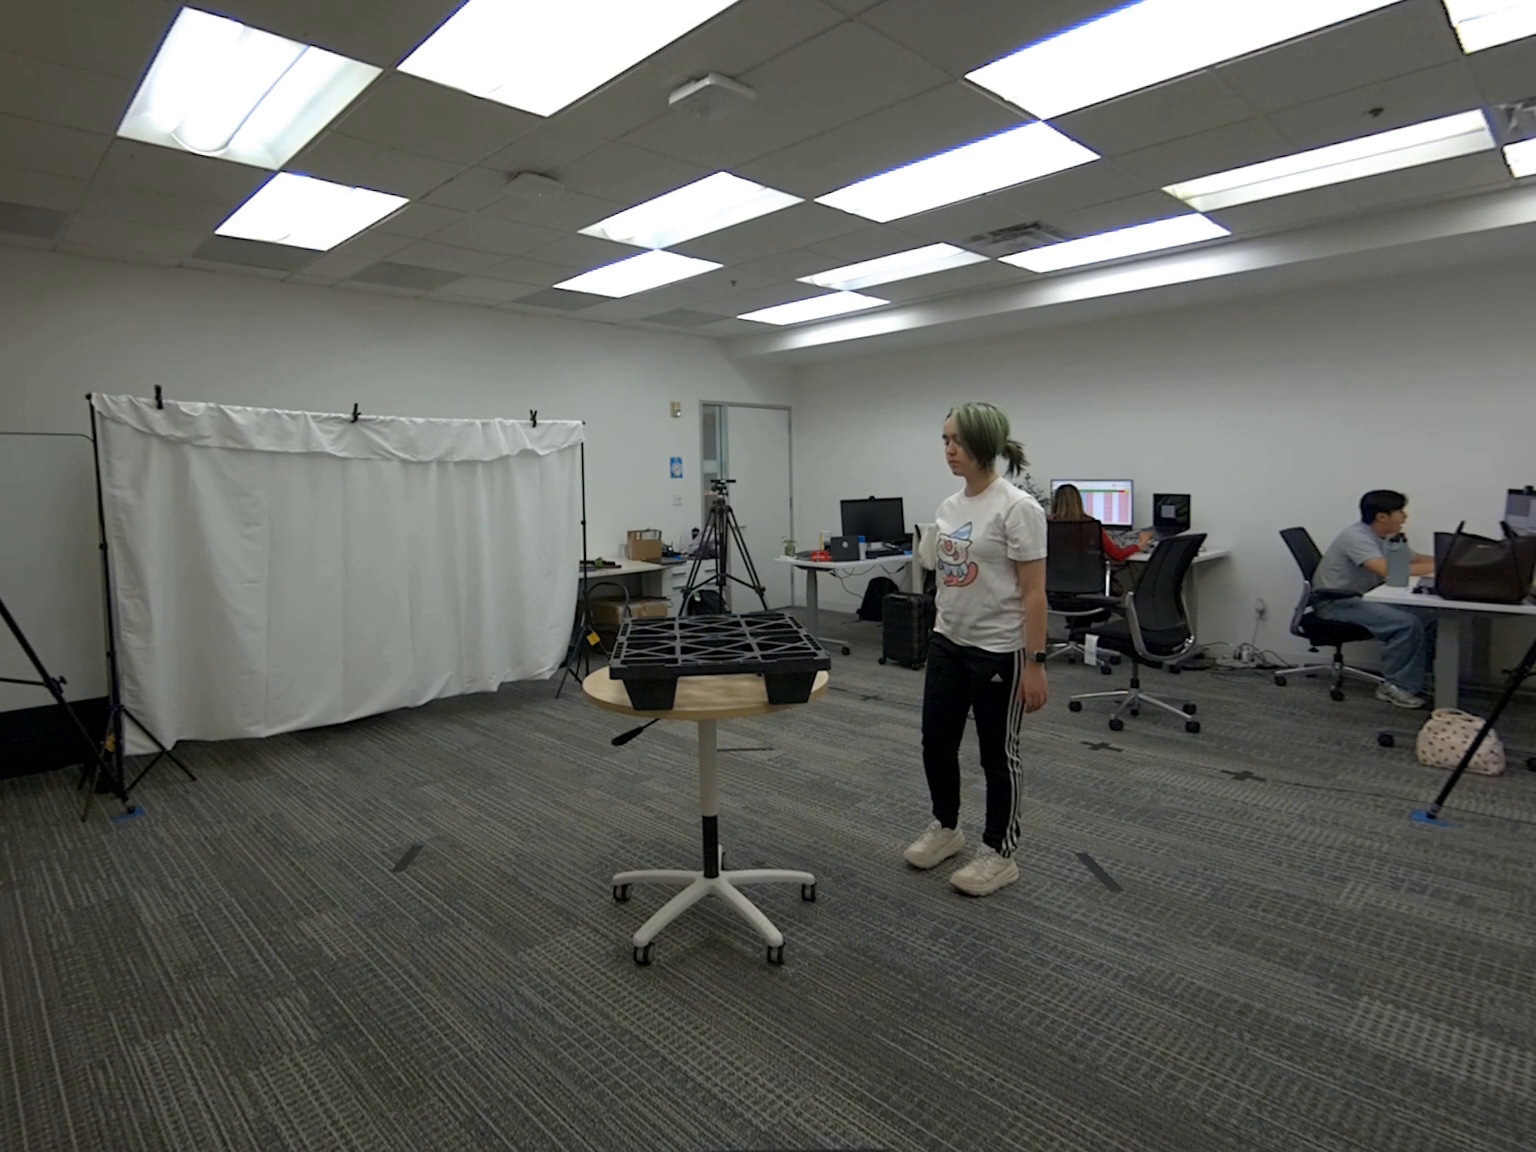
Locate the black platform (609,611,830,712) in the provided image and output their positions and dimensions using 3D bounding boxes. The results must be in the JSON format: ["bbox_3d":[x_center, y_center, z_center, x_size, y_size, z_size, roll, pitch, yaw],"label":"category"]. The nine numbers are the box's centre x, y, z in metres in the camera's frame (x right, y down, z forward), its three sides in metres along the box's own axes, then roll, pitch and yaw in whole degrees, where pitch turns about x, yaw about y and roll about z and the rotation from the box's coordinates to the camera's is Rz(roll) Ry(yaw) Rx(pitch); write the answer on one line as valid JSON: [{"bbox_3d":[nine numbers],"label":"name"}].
[{"bbox_3d":[-0.160,0.249,2.678,0.602,0.142,0.813,-3,7,-5],"label":"black platform"}]
